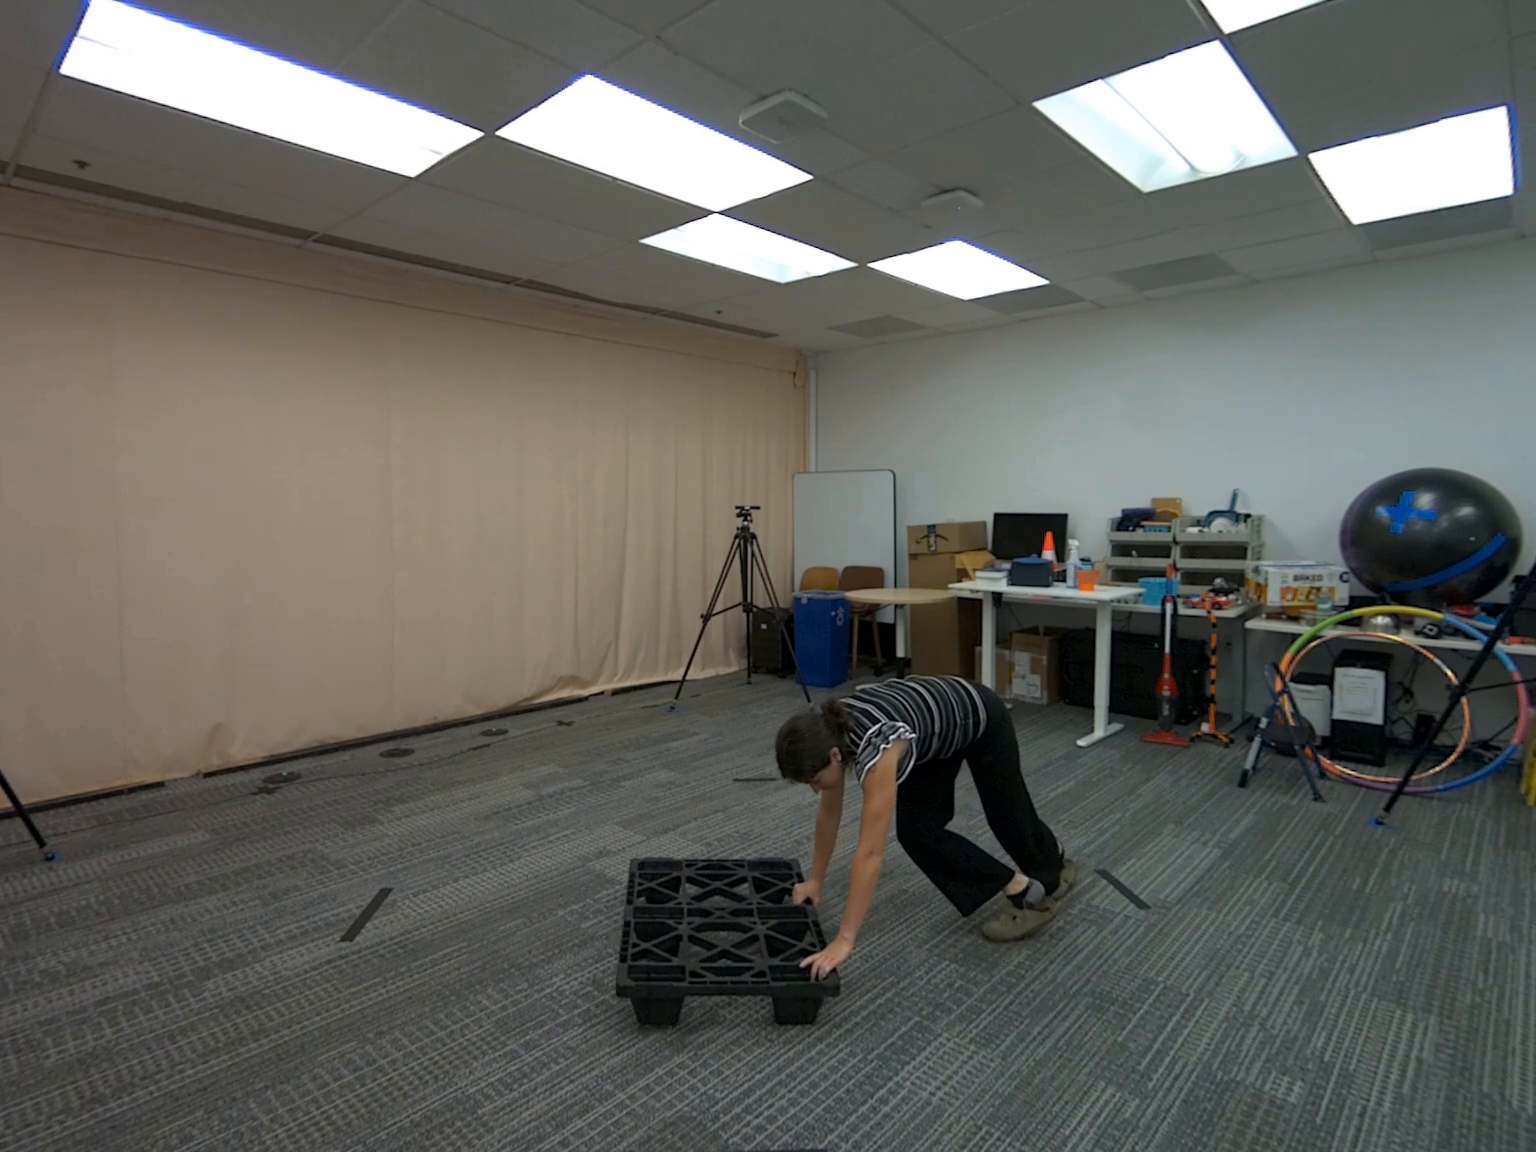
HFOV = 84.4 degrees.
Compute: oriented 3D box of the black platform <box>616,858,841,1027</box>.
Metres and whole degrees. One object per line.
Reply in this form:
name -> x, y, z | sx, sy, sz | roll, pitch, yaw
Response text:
black platform -> -0.145, 1.105, 2.608 | 0.602, 0.143, 0.811 | 0, 4, -5
